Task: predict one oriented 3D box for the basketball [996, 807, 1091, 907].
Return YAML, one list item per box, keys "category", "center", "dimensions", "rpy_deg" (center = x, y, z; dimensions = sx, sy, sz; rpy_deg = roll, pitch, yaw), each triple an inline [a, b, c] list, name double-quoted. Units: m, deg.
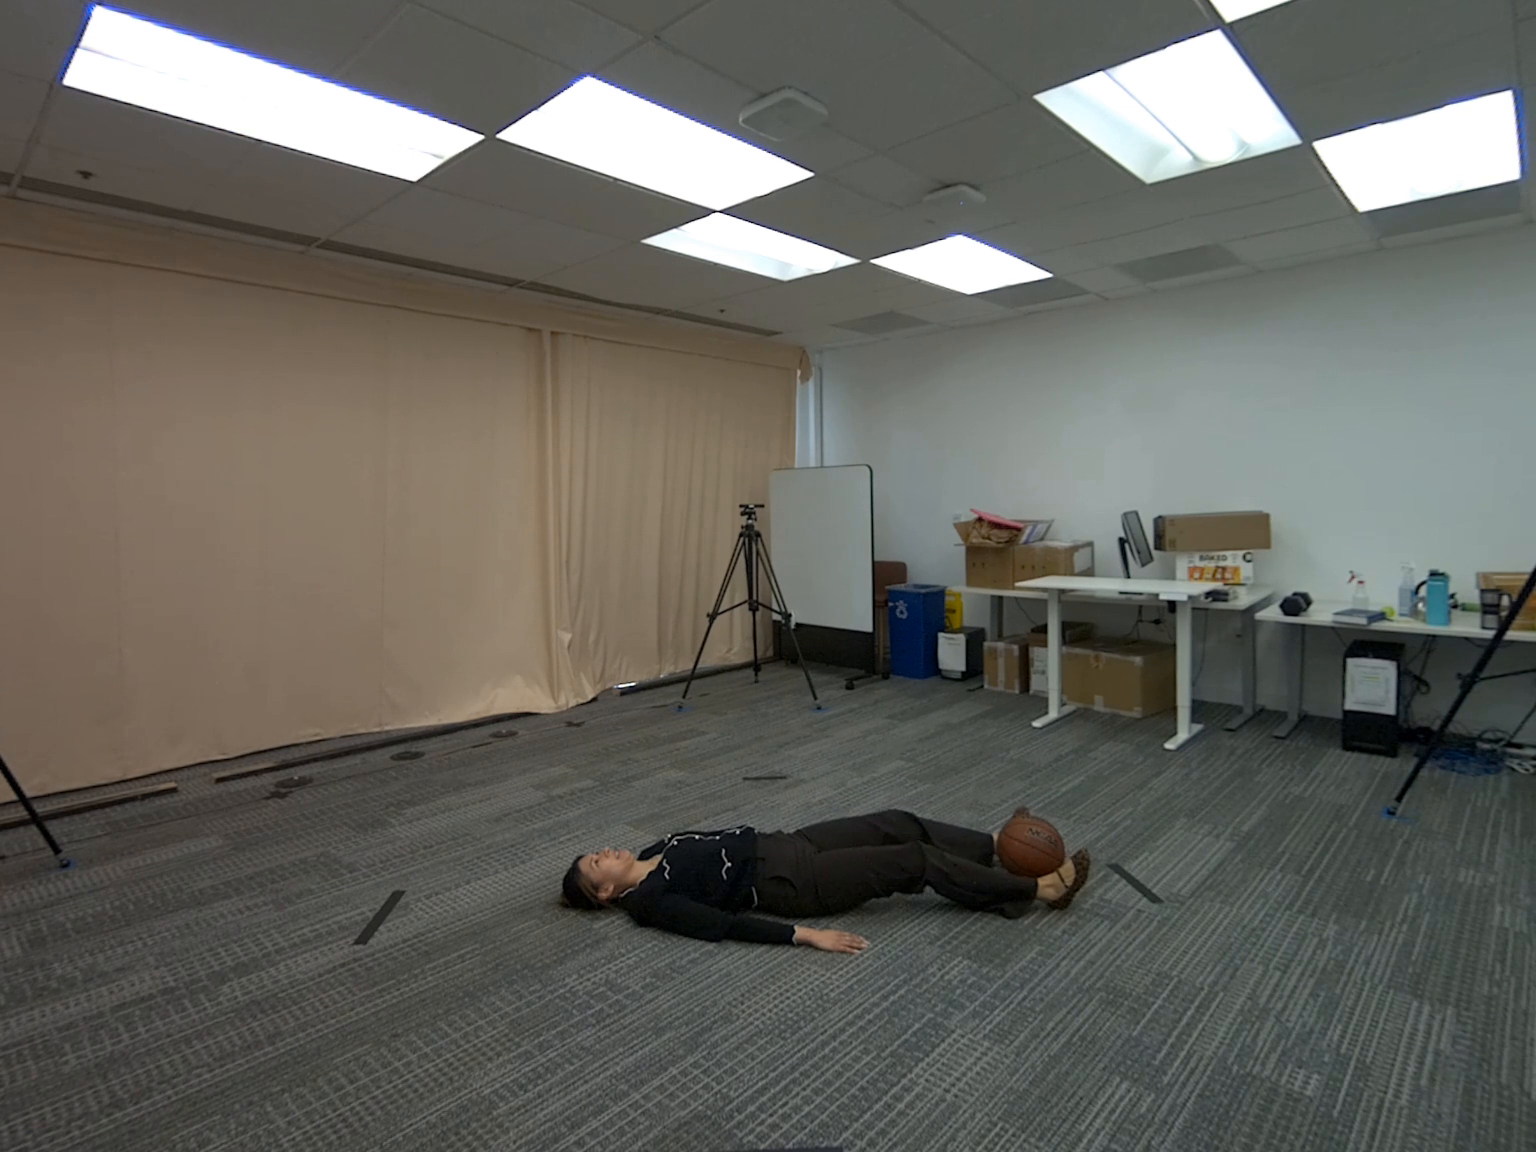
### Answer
- category: "basketball"
  center: [0.969, 1.000, 3.066]
  dimensions: [0.236, 0.236, 0.236]
  rpy_deg: [0, 1, -2]
